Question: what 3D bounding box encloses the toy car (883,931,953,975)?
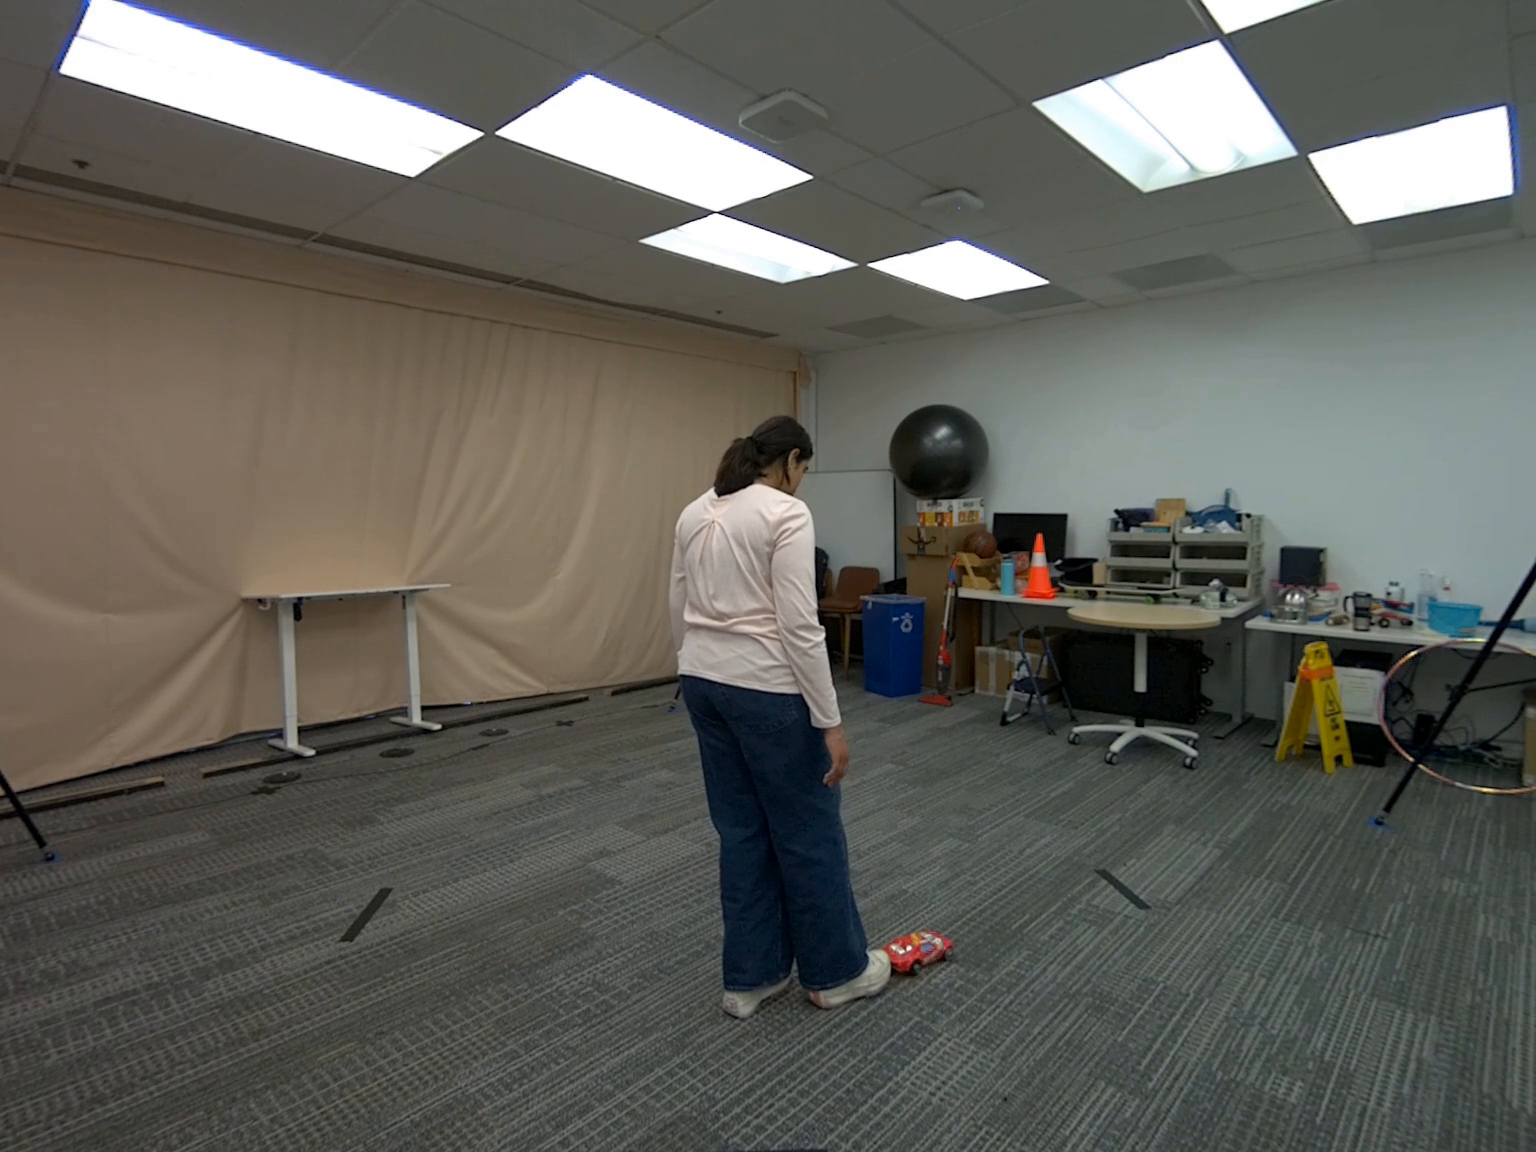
[{"bbox_3d":[0.451,1.145,2.560,0.246,0.083,0.134,11,-2,-34],"label":"toy car"}]
